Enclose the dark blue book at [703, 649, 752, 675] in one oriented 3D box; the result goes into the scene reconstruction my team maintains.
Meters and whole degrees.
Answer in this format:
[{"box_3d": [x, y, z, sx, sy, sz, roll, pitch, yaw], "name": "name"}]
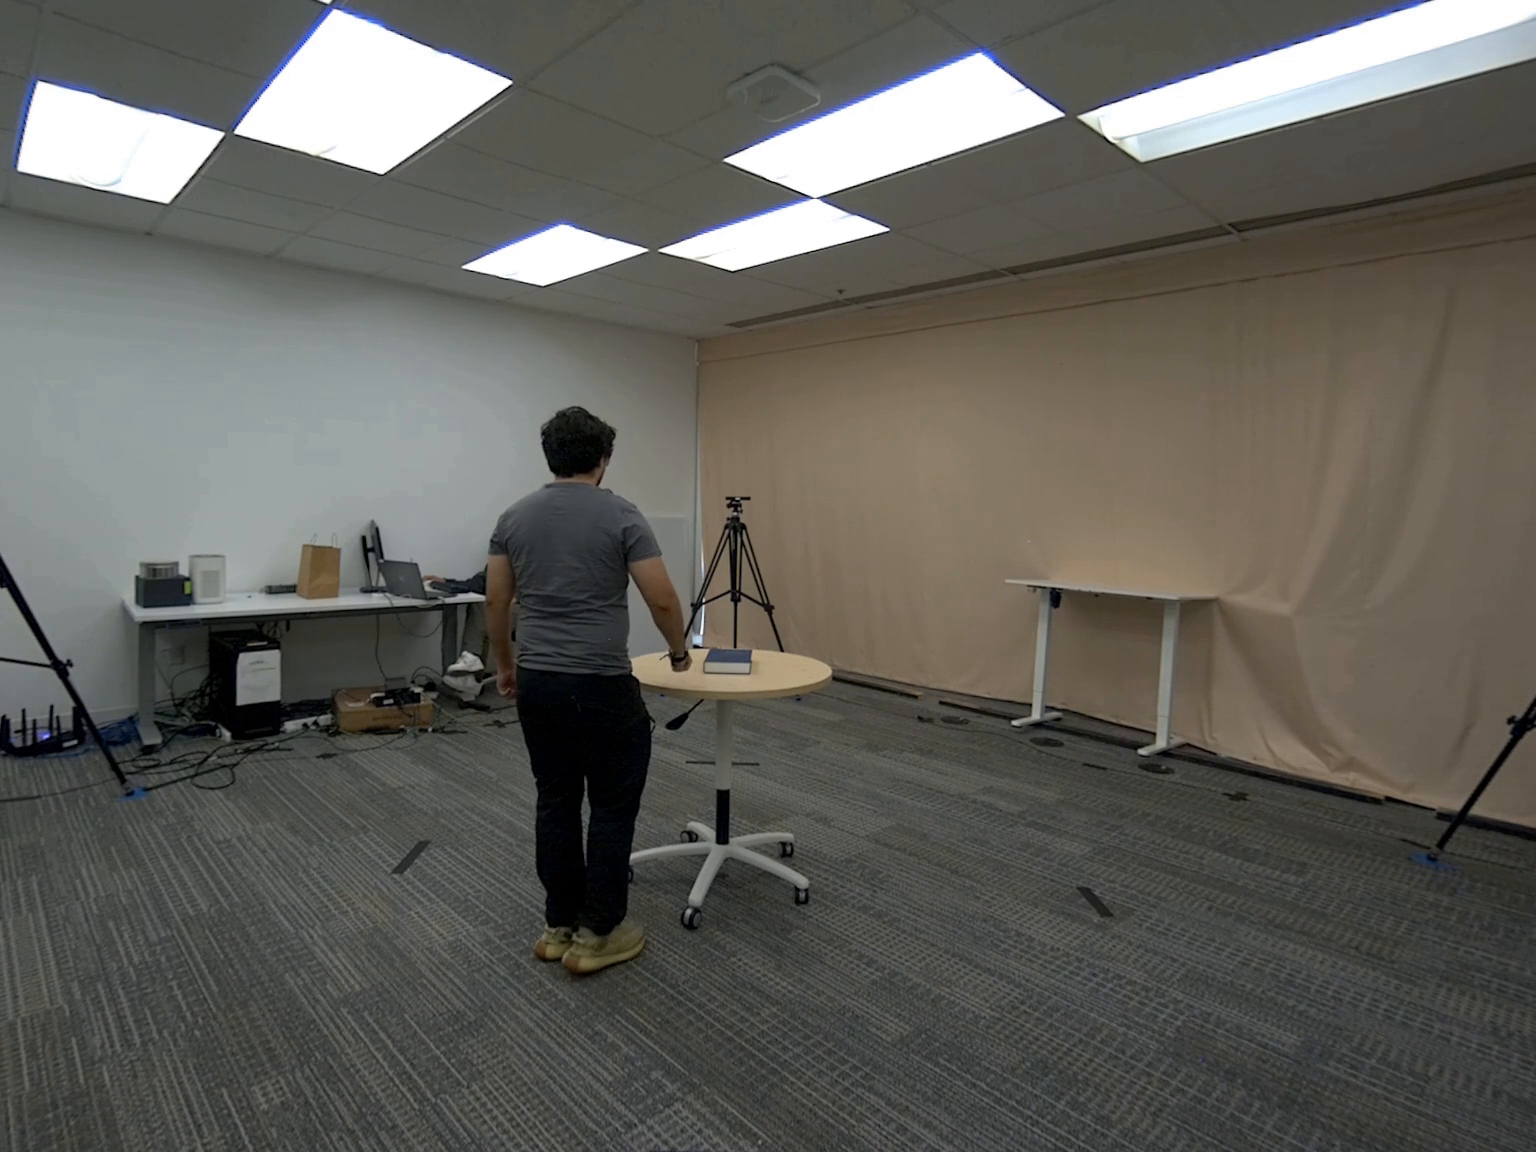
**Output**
[{"box_3d": [-0.154, 0.311, 3.033, 0.163, 0.045, 0.245, 2, 5, 1], "name": "dark blue book"}]
